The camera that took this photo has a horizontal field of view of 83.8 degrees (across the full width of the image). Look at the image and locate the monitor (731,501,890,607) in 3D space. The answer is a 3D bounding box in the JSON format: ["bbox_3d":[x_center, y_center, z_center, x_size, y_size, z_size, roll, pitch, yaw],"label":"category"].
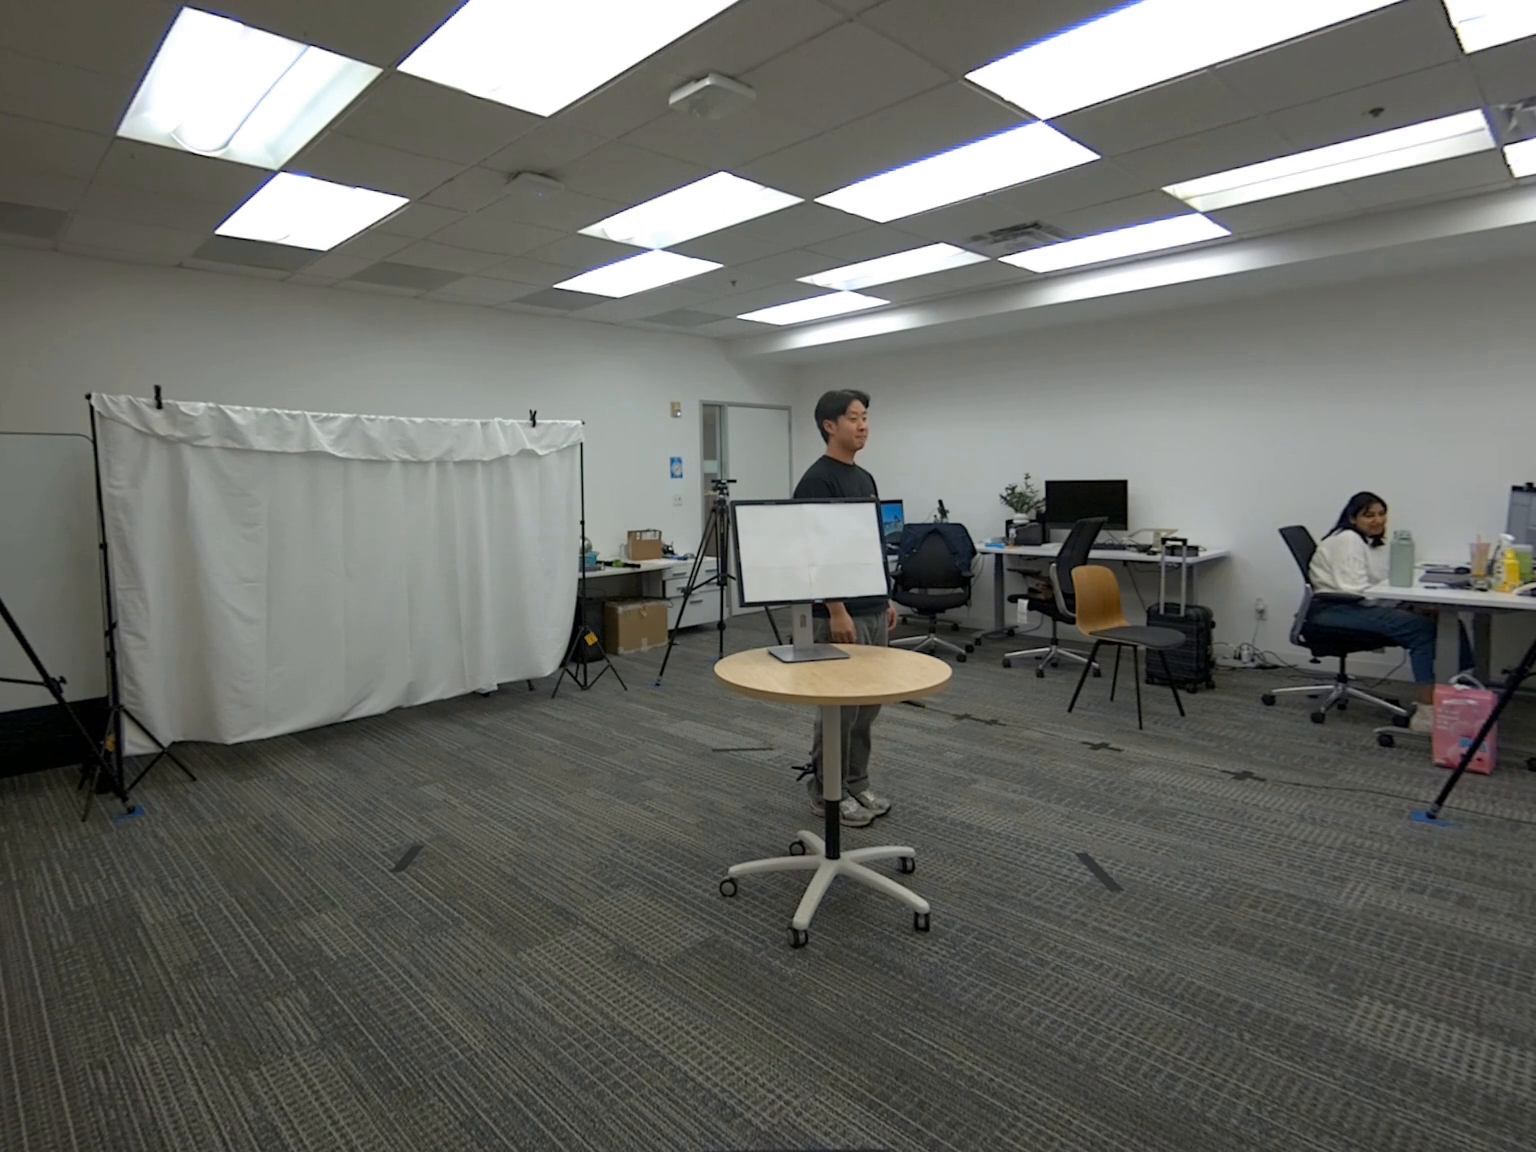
[{"bbox_3d":[0.132,0.017,2.963,0.554,0.564,0.226,-3,4,-16],"label":"monitor"}]
